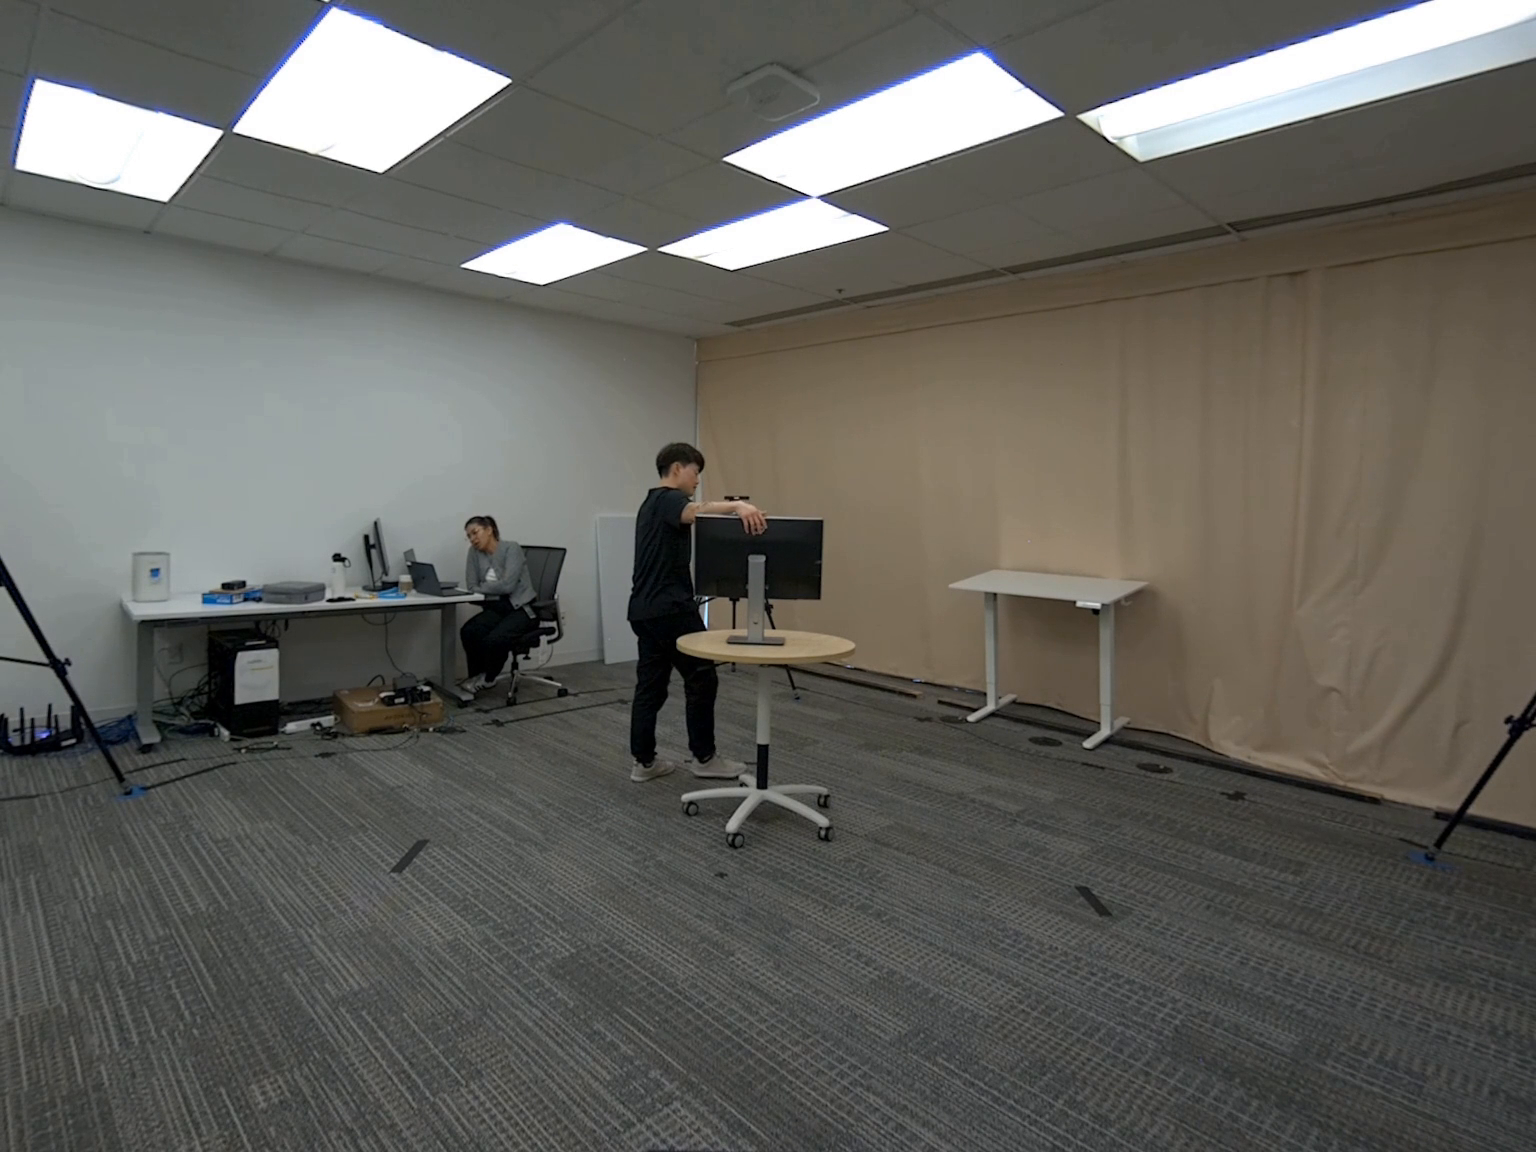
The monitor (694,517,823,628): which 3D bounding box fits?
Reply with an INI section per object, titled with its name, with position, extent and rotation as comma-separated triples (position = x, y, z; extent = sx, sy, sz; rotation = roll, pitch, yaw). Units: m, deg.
[monitor]
position = -0.049, 0.019, 3.610
extent = 0.540, 0.522, 0.187
rotation = 2, 1, 3
